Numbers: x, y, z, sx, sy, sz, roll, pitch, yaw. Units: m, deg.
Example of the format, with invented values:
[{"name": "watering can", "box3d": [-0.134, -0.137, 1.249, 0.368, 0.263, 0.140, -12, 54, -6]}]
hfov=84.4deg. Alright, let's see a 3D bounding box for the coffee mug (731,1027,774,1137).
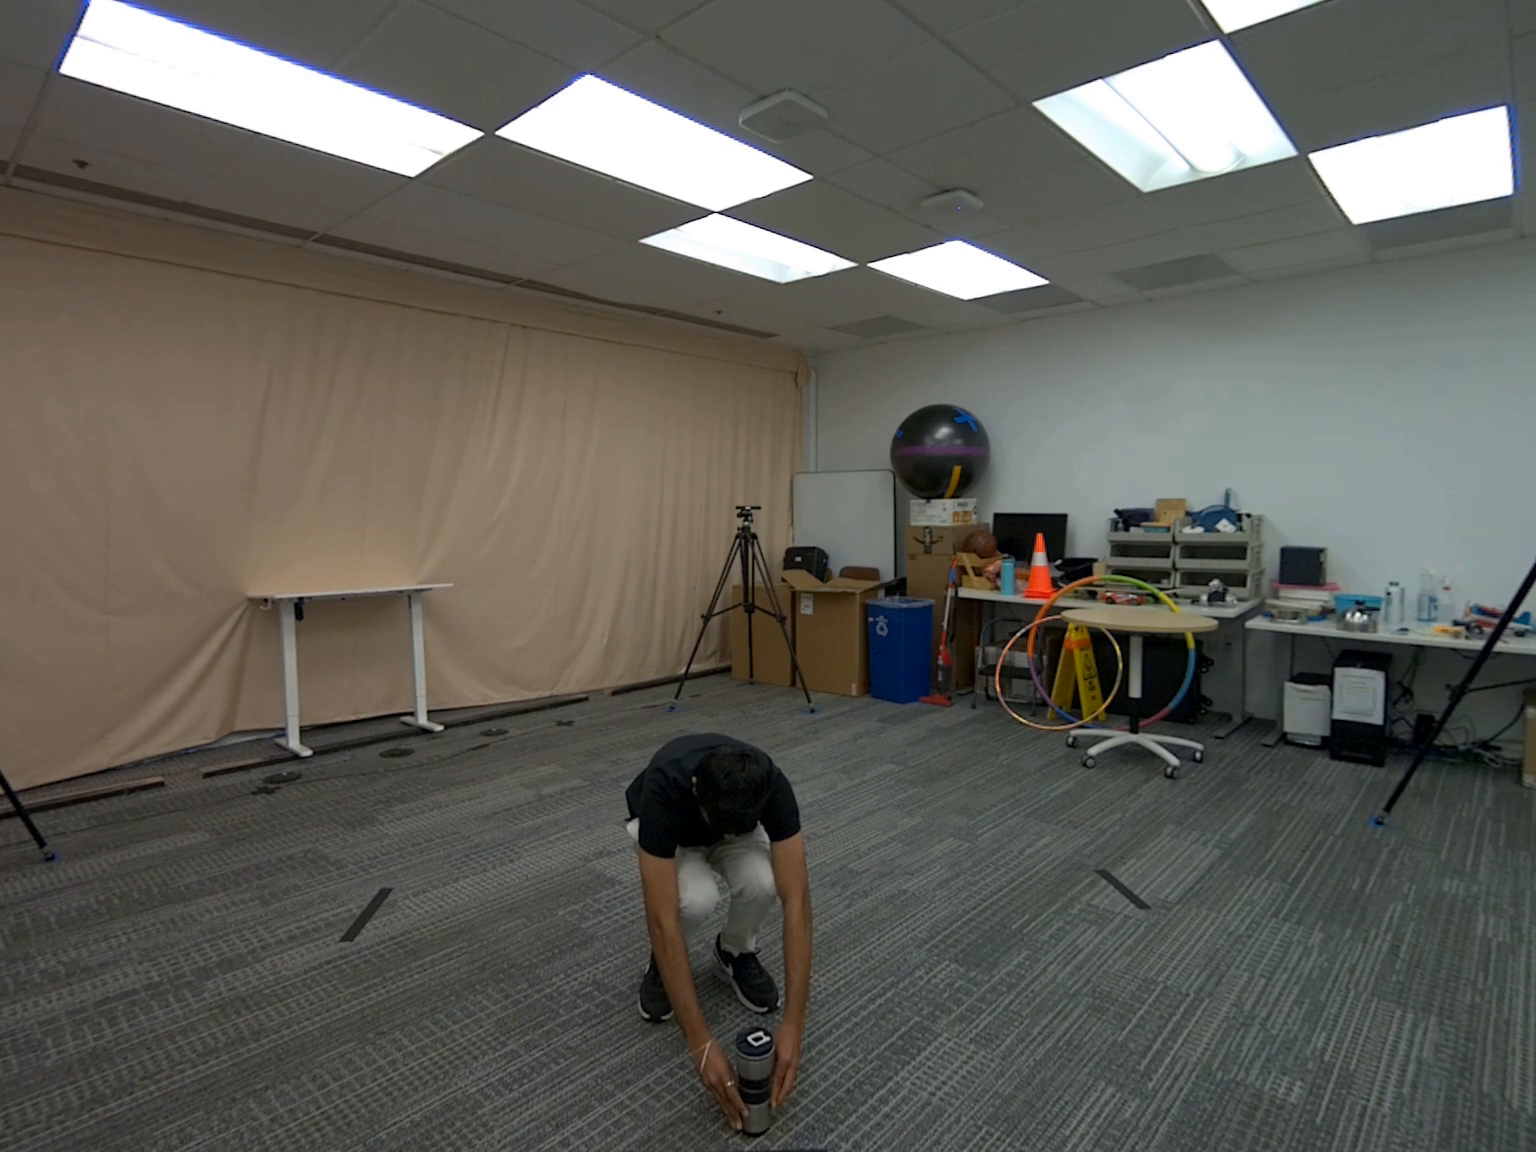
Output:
[{"name": "coffee mug", "box3d": [-0.017, 1.133, 1.903, 0.090, 0.202, 0.119, -1, 7, 35]}]
